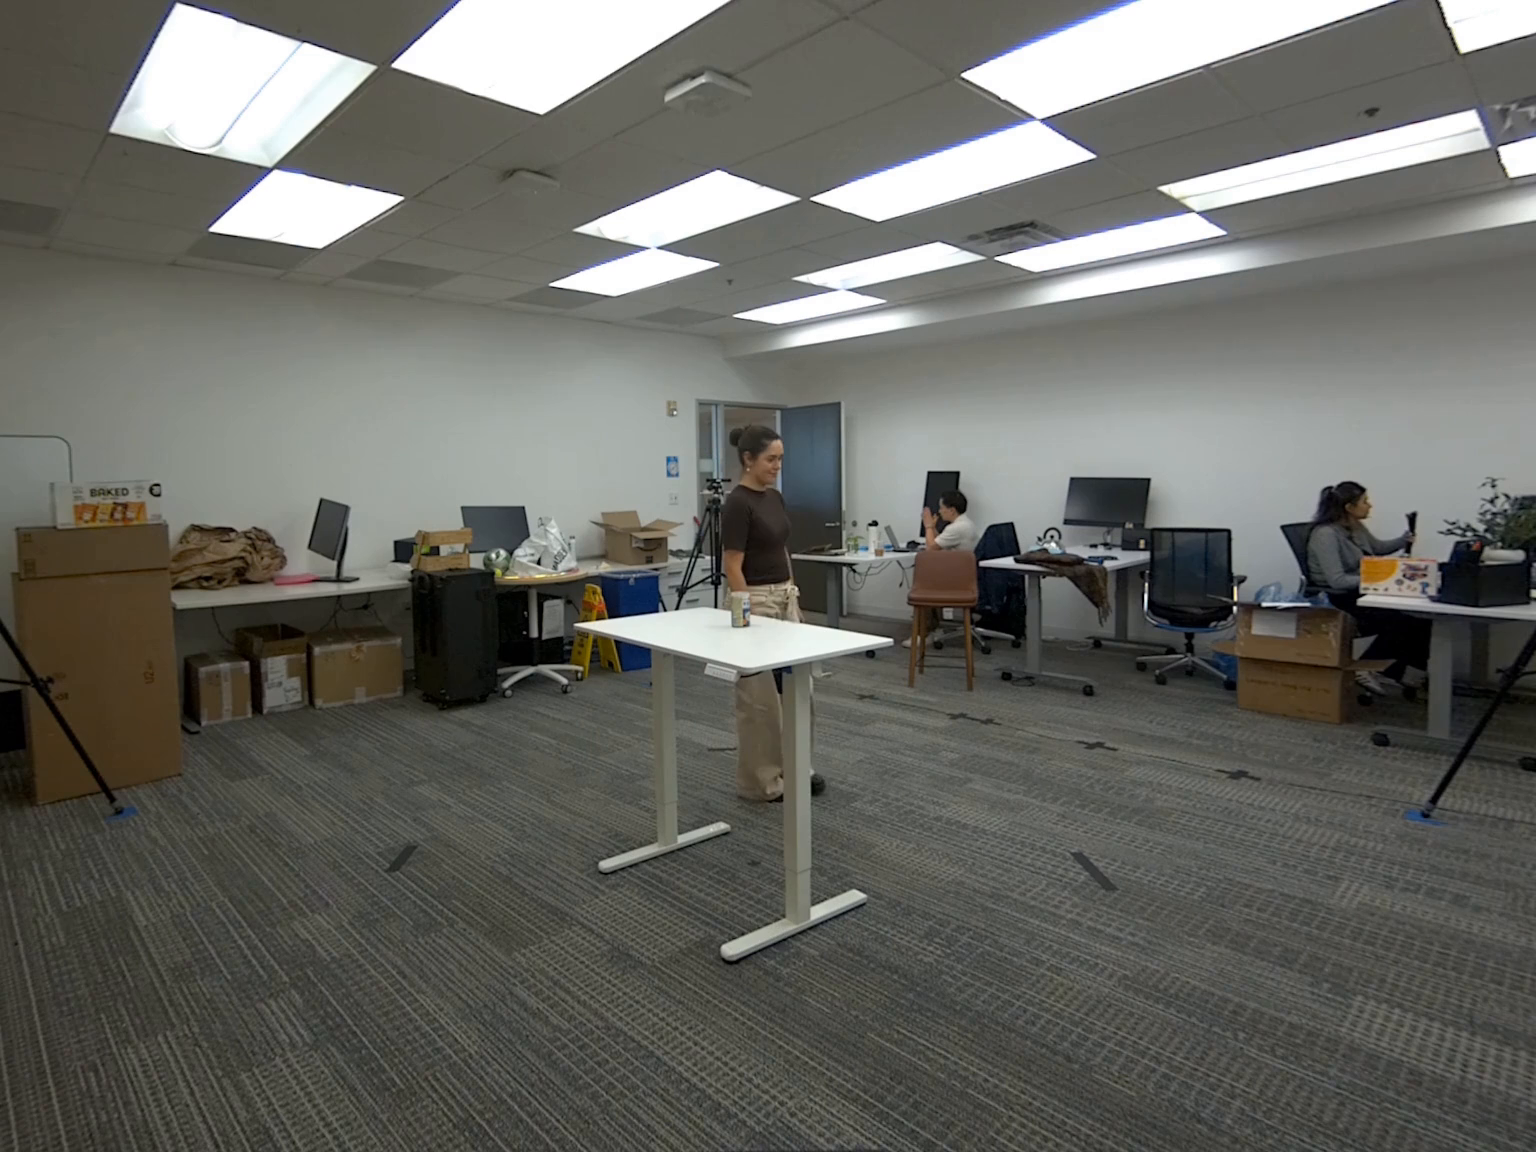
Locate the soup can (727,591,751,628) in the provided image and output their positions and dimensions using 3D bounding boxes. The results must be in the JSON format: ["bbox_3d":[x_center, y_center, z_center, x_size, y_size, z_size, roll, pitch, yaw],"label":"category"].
[{"bbox_3d":[-0.095,0.121,2.983,0.067,0.121,0.067,-1,2,-2],"label":"soup can"}]
